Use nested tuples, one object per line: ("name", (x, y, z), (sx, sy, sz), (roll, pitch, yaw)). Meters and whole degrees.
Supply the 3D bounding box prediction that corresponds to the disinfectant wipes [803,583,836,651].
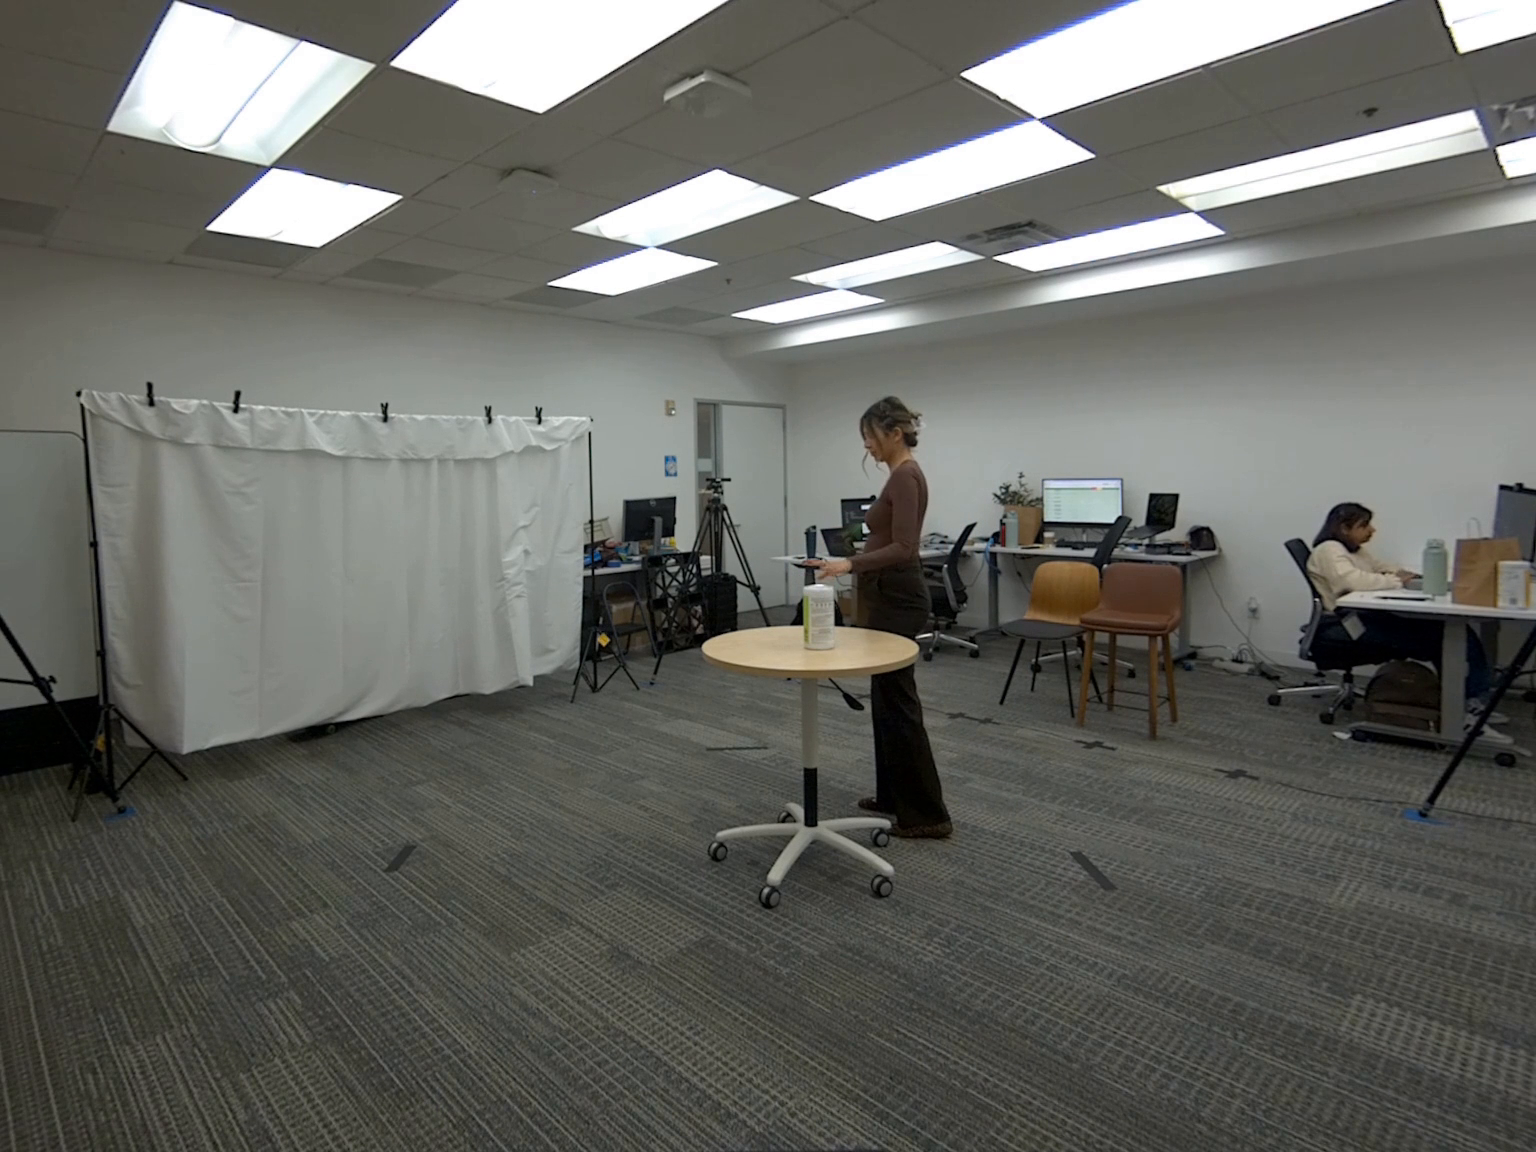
("disinfectant wipes", (0.189, 0.147, 3.002), (0.118, 0.216, 0.118), (-2, 5, -2))
